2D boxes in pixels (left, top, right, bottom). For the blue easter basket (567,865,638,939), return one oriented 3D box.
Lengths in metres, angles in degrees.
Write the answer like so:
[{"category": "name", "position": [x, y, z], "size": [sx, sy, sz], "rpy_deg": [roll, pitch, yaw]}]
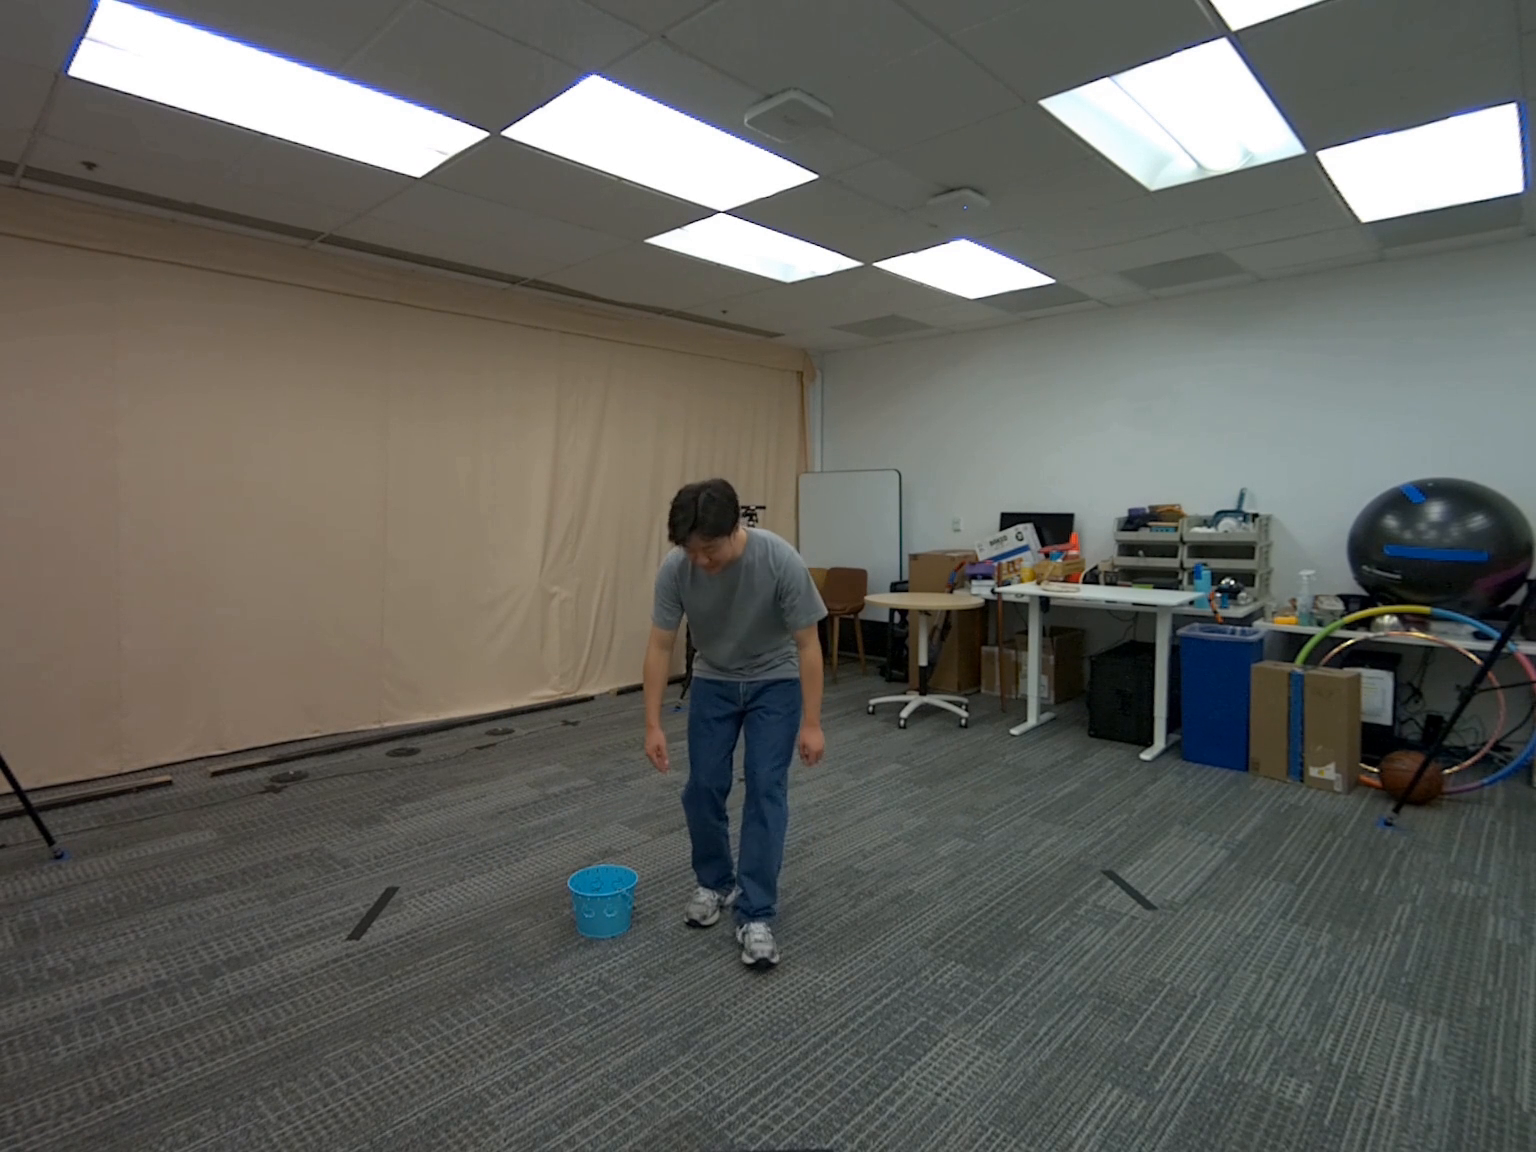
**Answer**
[{"category": "blue easter basket", "position": [-0.543, 1.090, 2.805], "size": [0.243, 0.155, 0.244], "rpy_deg": [-1, 3, -2]}]
